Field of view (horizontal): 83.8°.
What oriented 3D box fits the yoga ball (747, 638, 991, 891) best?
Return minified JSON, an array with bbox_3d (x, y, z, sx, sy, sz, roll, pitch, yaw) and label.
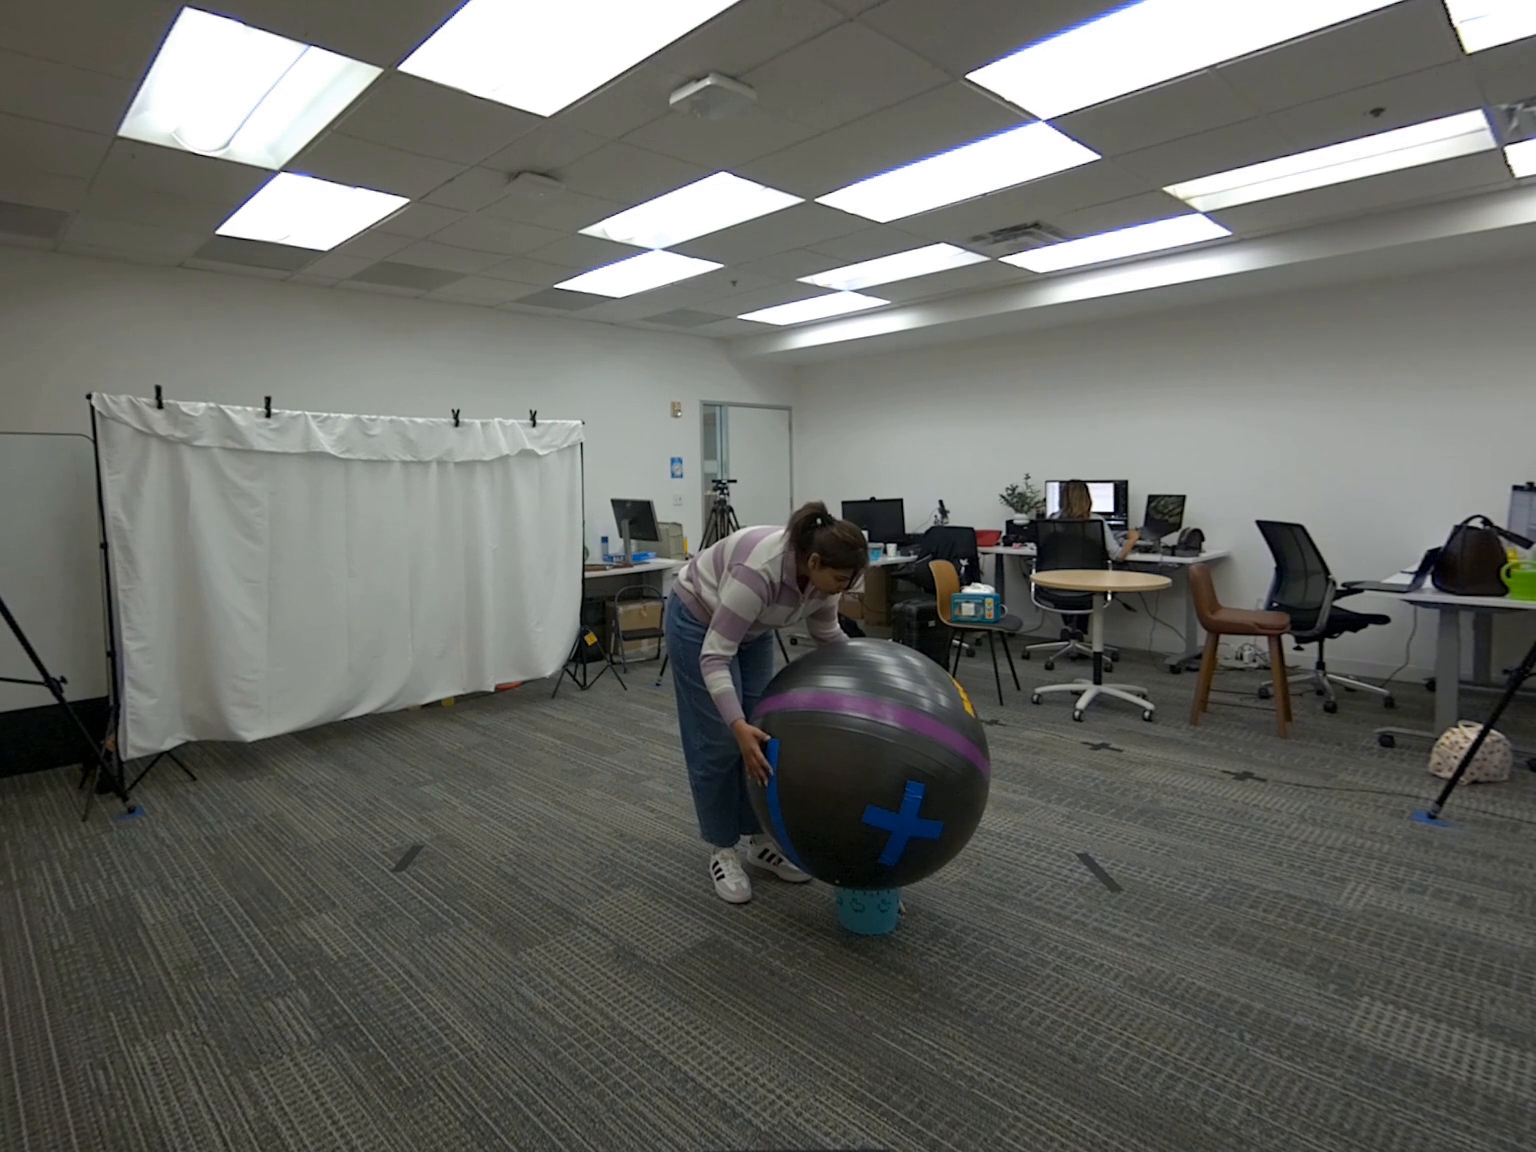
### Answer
[{"bbox_3d":[0.306,0.586,2.659,0.757,0.755,0.762,-1,5,-2],"label":"yoga ball"}]
